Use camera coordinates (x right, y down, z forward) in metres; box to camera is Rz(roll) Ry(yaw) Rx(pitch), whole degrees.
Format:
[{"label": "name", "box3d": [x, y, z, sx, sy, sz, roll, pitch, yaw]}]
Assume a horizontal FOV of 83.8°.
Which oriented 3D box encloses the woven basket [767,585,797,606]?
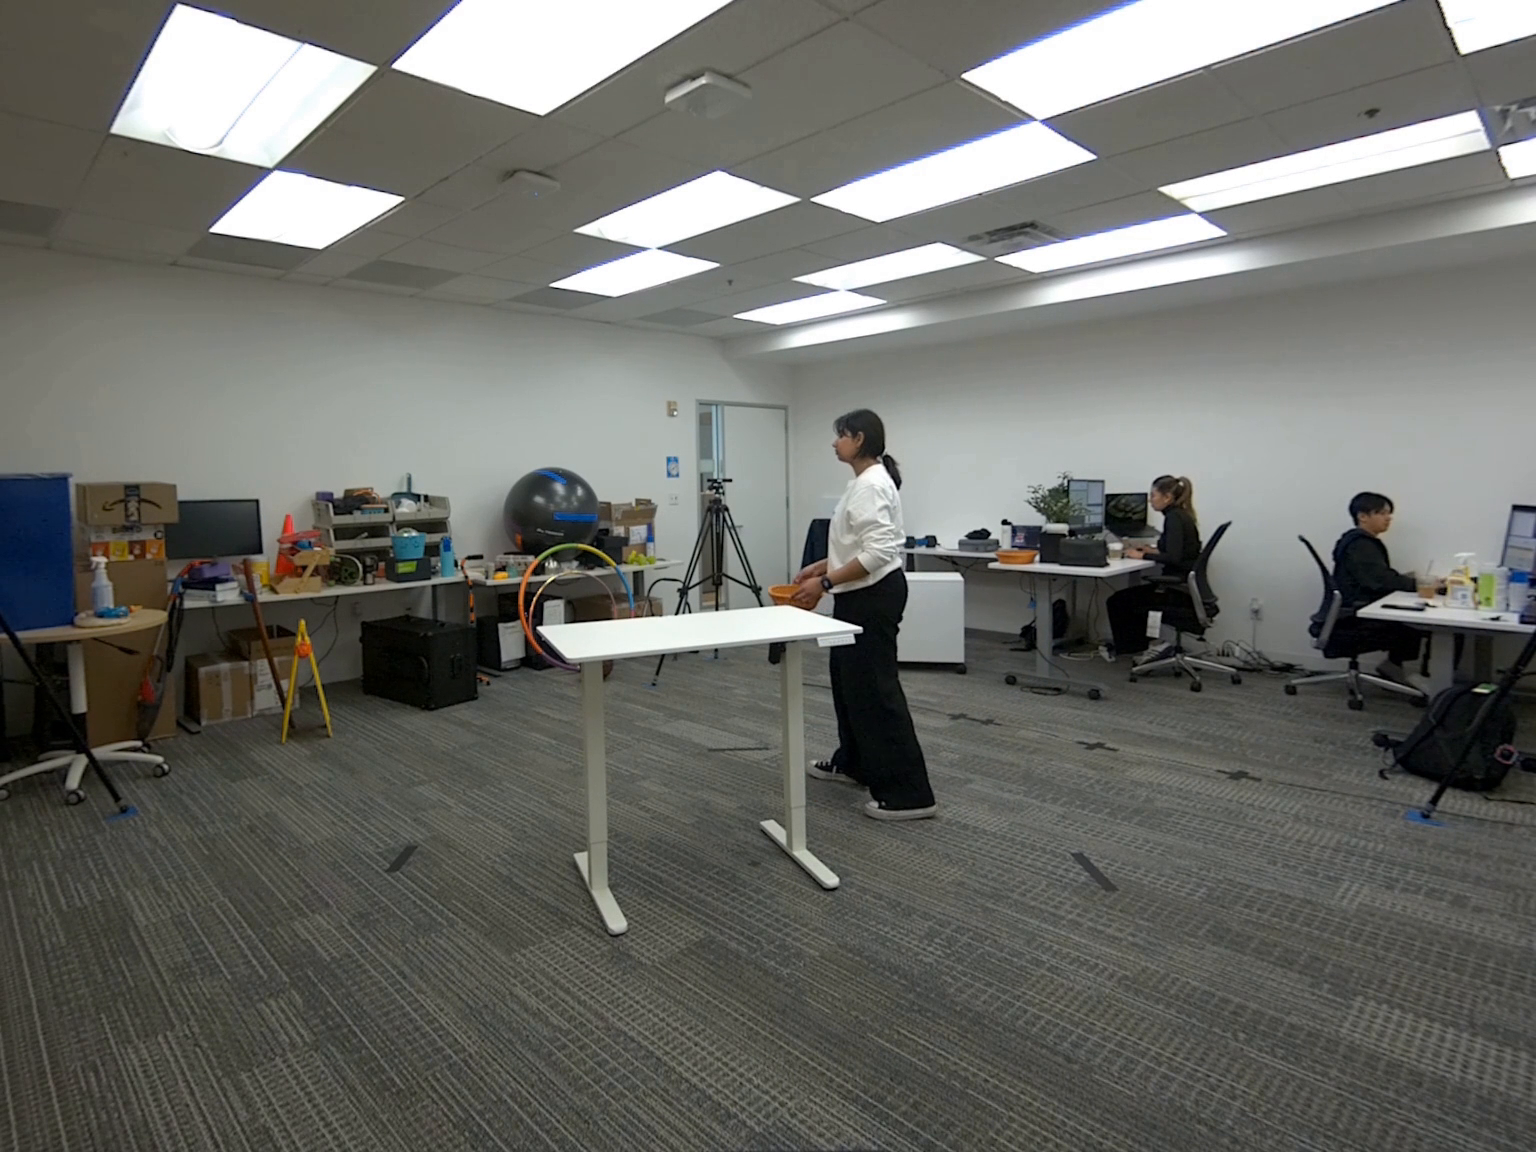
[{"label": "woven basket", "box3d": [0.145, 0.096, 3.796, 0.255, 0.073, 0.349, 1, 7, 8]}]
